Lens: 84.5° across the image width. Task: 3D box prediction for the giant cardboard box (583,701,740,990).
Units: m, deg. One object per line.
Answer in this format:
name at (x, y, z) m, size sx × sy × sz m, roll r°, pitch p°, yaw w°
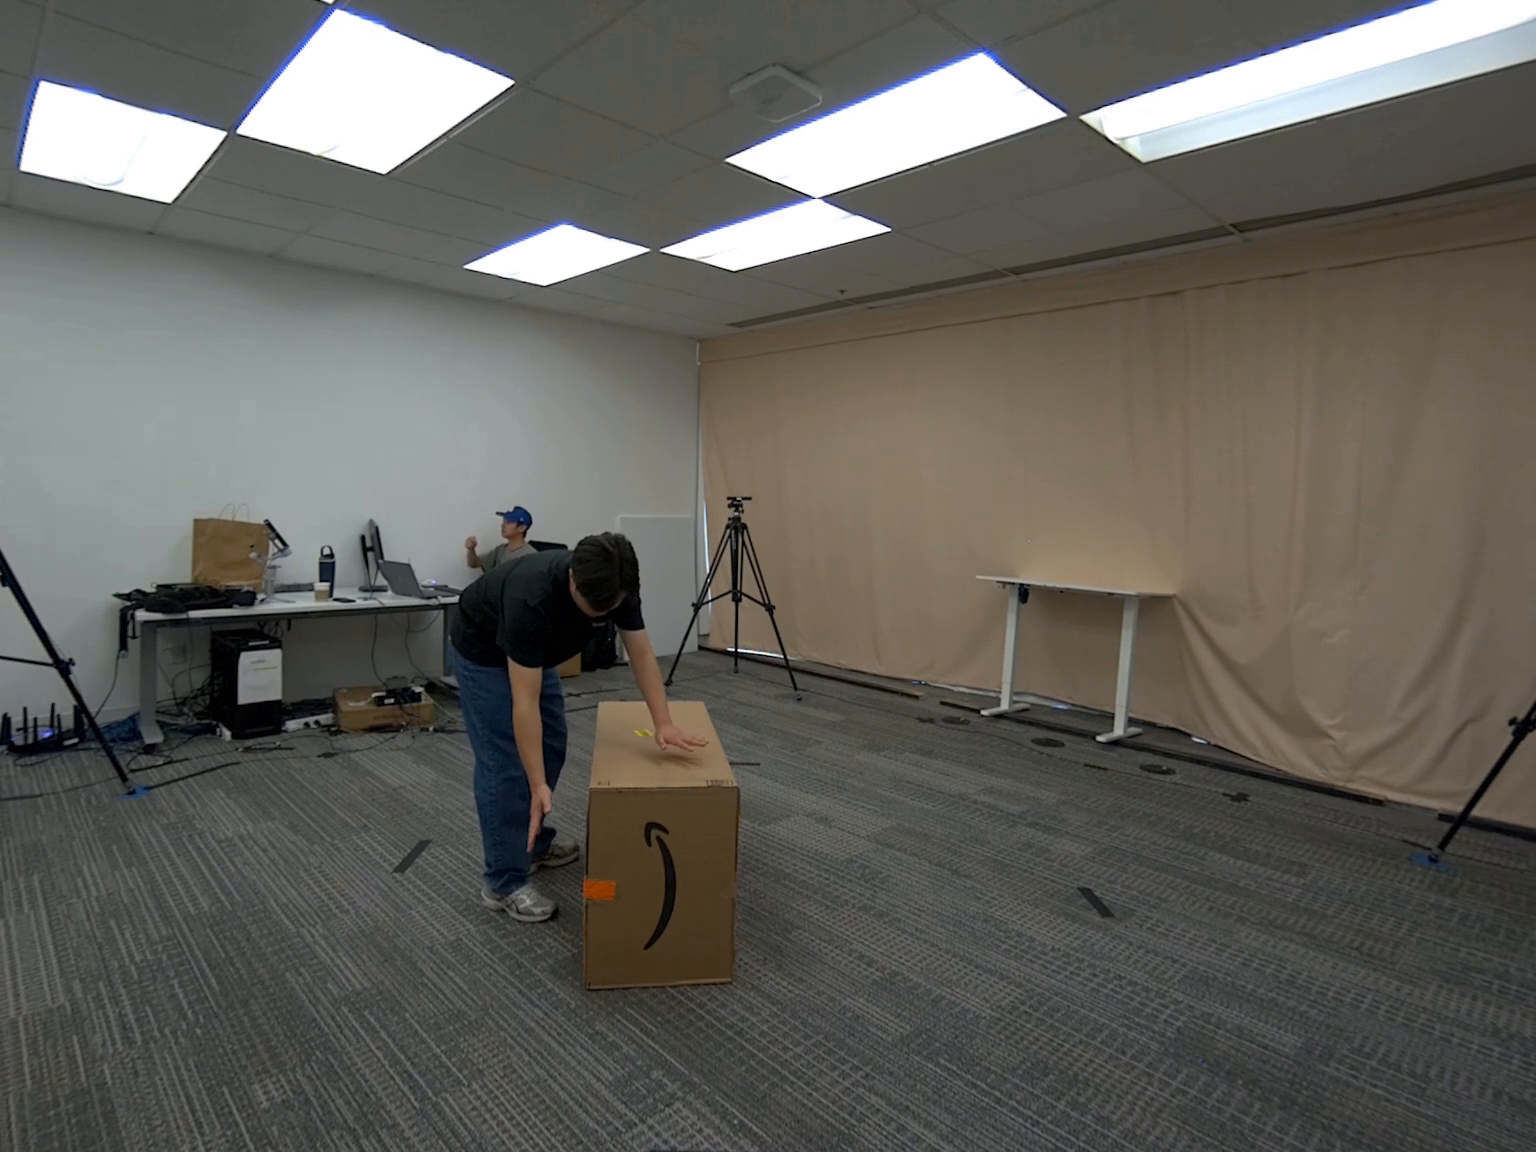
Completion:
giant cardboard box at (-0.393, 0.832, 2.880) m, size 0.443 × 0.582 × 1.037 m, roll 0°, pitch 4°, yaw -10°
